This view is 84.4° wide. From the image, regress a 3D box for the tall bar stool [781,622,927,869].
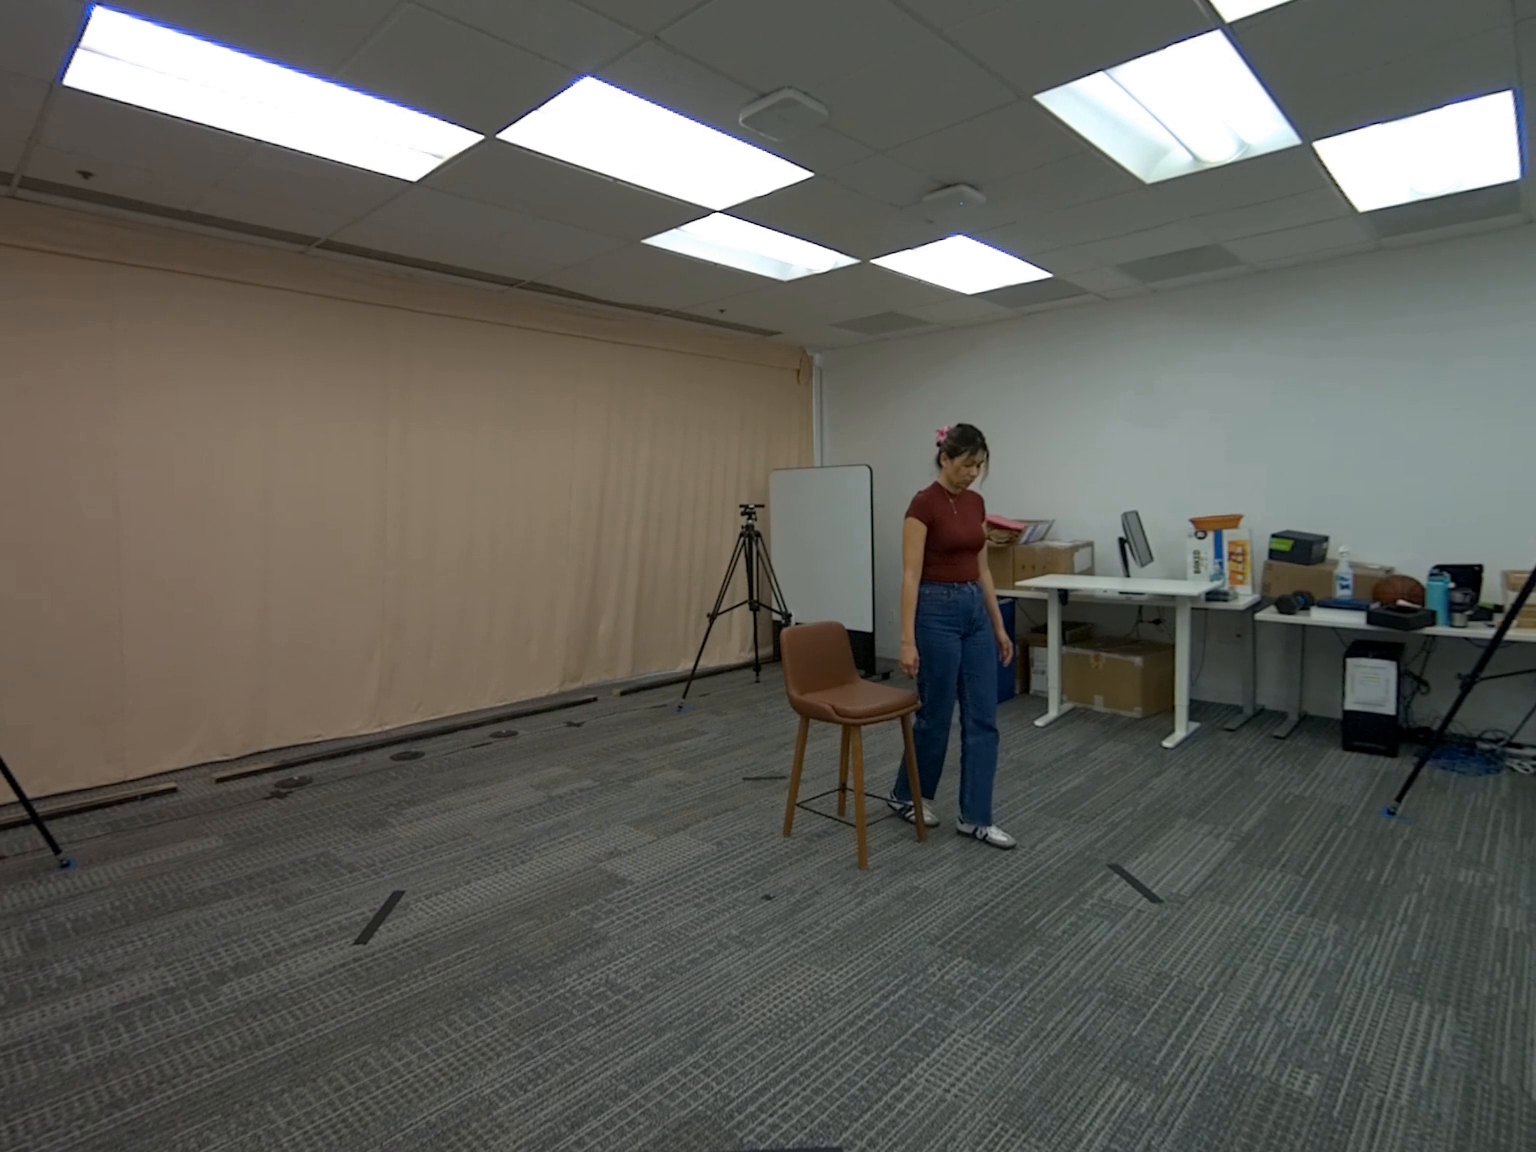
[{"bbox_3d":[0.342,0.659,3.475,0.442,0.889,0.482,-2,1,-43],"label":"tall bar stool"}]
